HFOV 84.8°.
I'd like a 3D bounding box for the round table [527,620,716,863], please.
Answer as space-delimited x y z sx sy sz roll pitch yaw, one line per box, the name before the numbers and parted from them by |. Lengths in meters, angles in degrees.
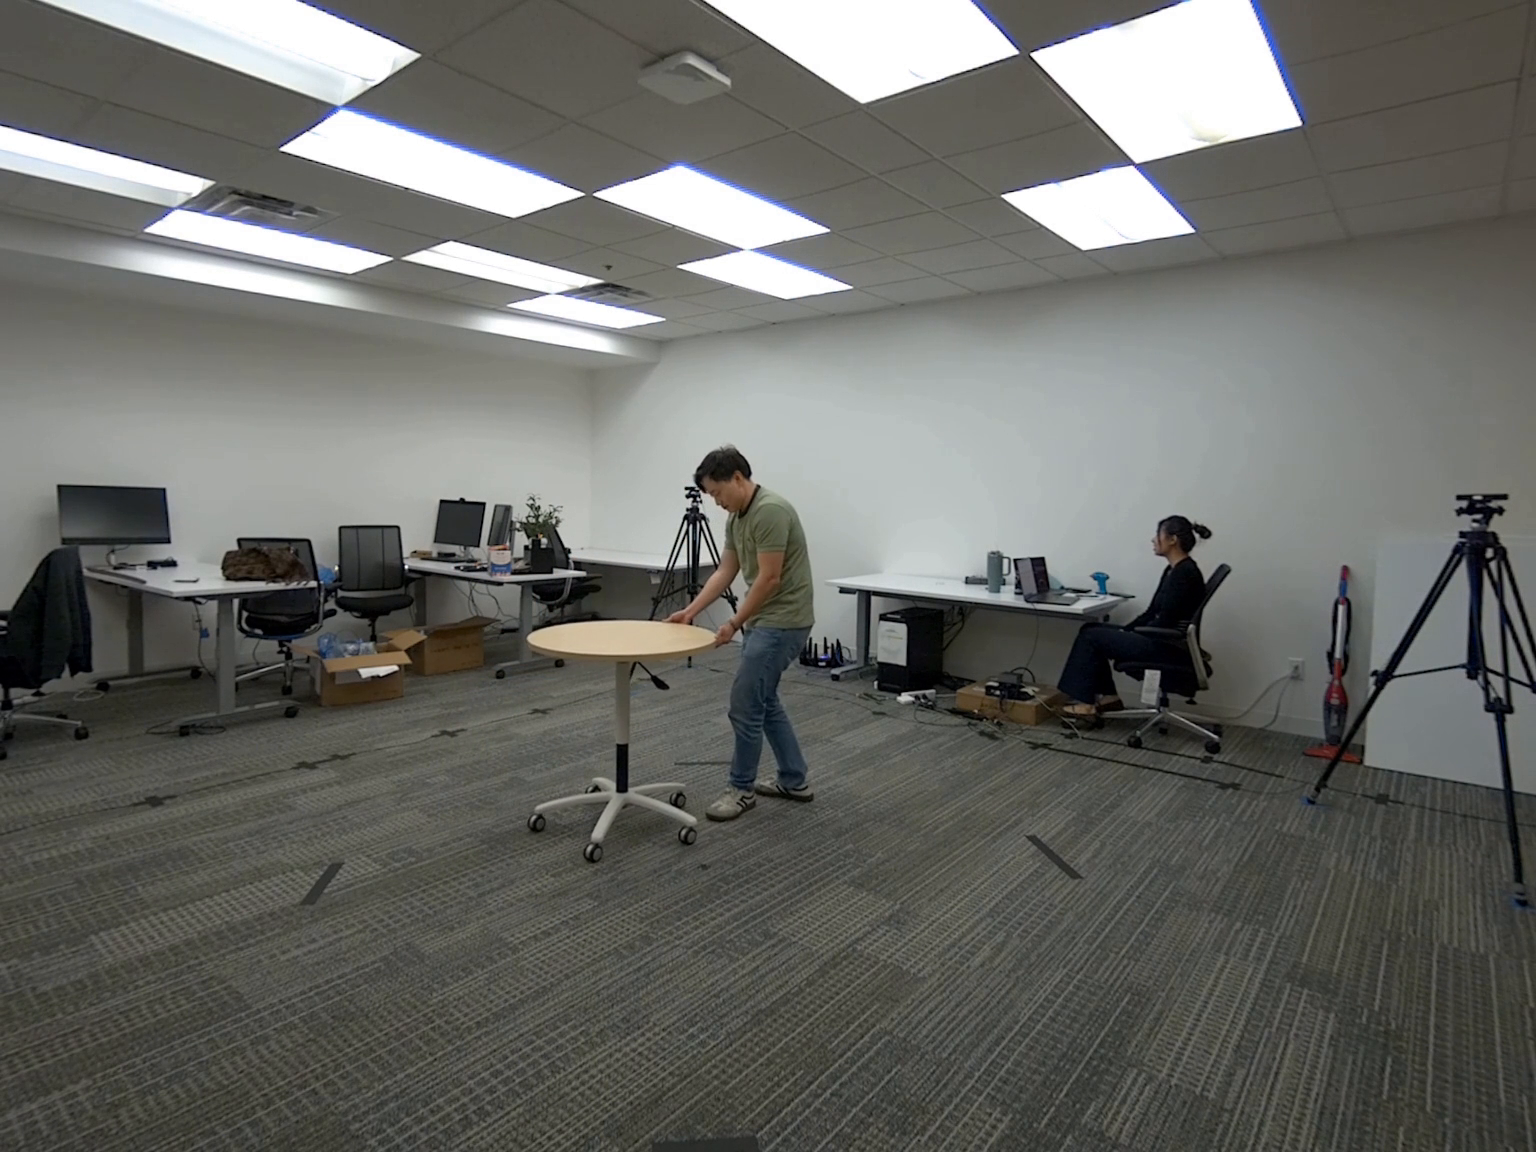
round table | -0.616 0.634 3.473 0.763 0.791 0.768 1 4 -2
